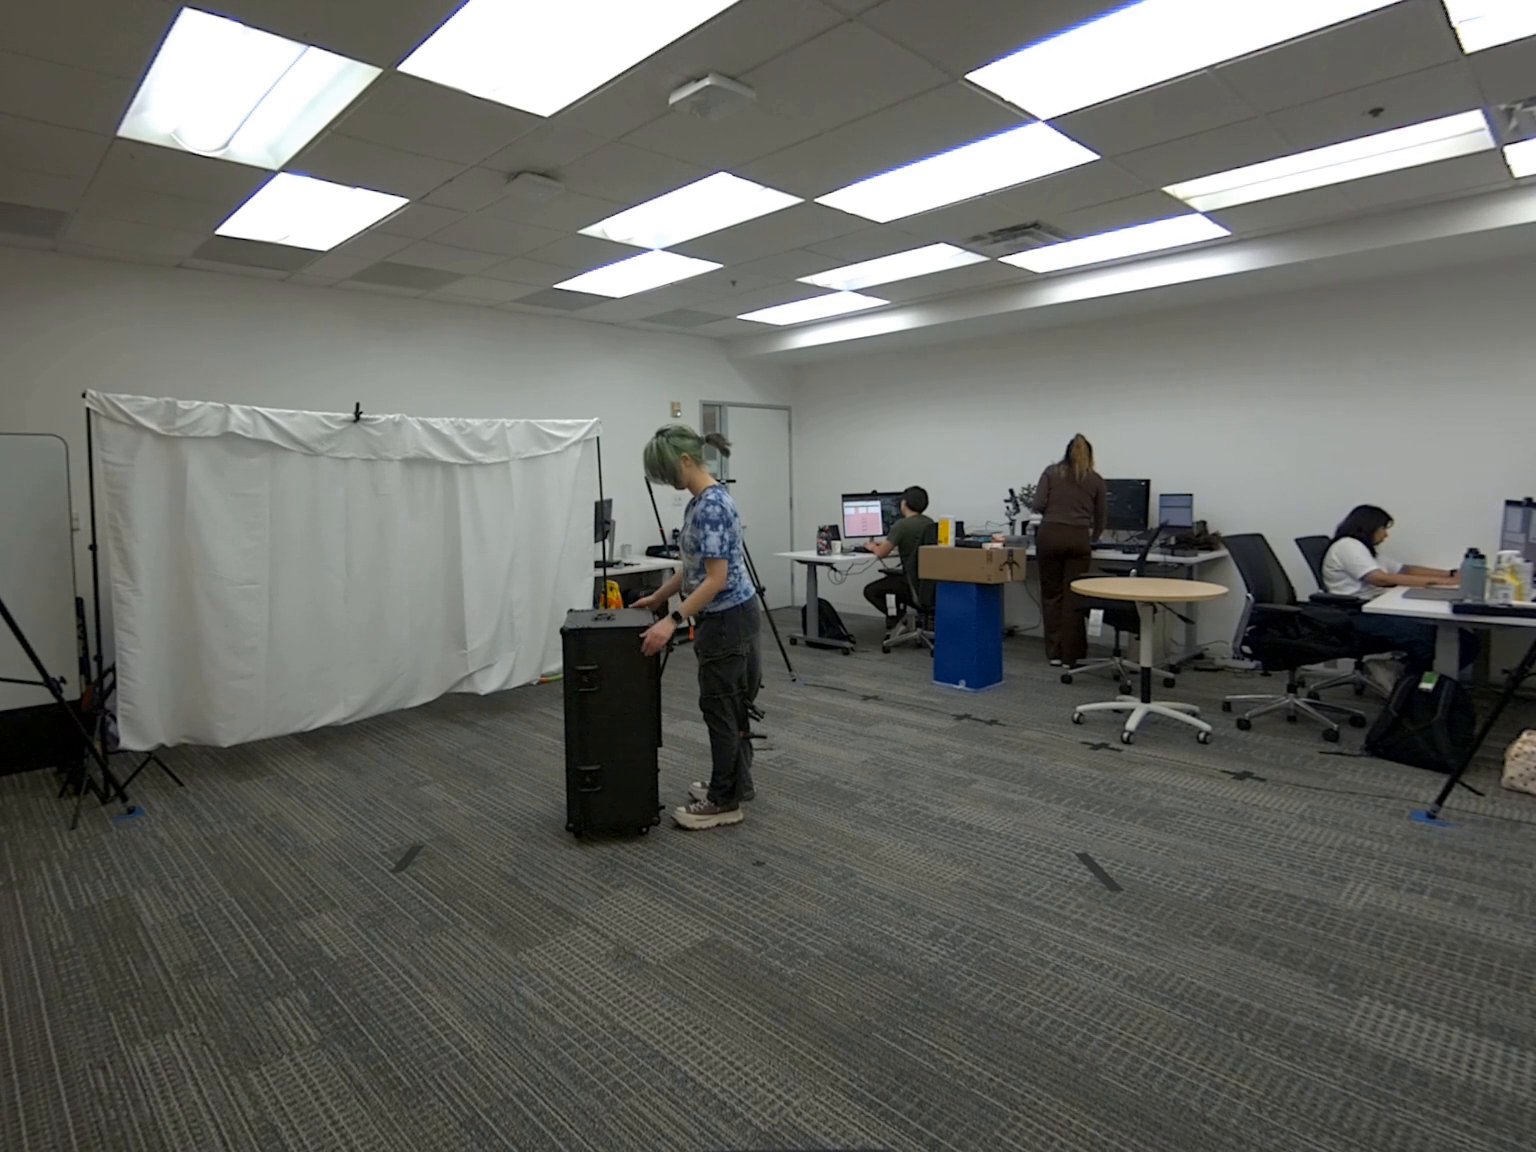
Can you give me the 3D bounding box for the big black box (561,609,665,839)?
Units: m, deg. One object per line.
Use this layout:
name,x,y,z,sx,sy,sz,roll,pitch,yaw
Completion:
big black box,-0.633,0.596,3.497,0.393,0.859,0.526,-1,3,-8
